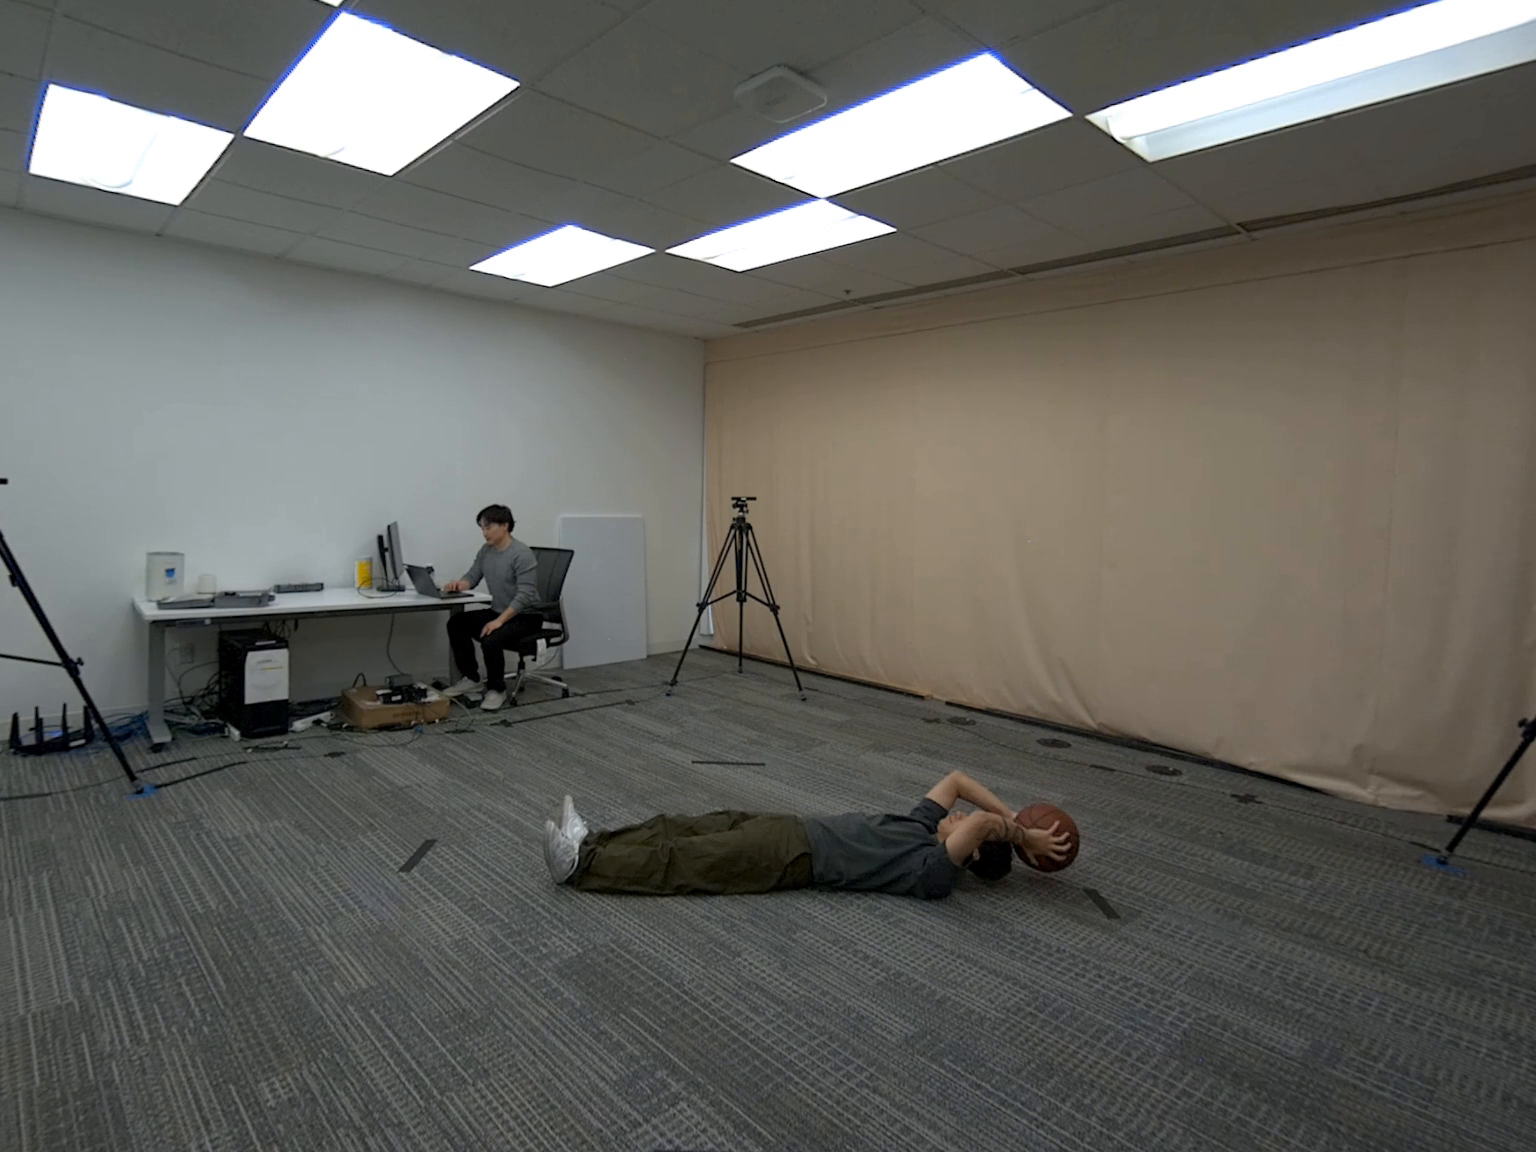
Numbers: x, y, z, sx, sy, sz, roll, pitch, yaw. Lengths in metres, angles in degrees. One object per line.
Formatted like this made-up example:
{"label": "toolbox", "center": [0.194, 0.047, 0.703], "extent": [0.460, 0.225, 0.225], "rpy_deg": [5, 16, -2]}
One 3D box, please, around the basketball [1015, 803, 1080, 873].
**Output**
{"label": "basketball", "center": [1.006, 0.947, 3.083], "extent": [0.236, 0.235, 0.237], "rpy_deg": [1, 4, -1]}
